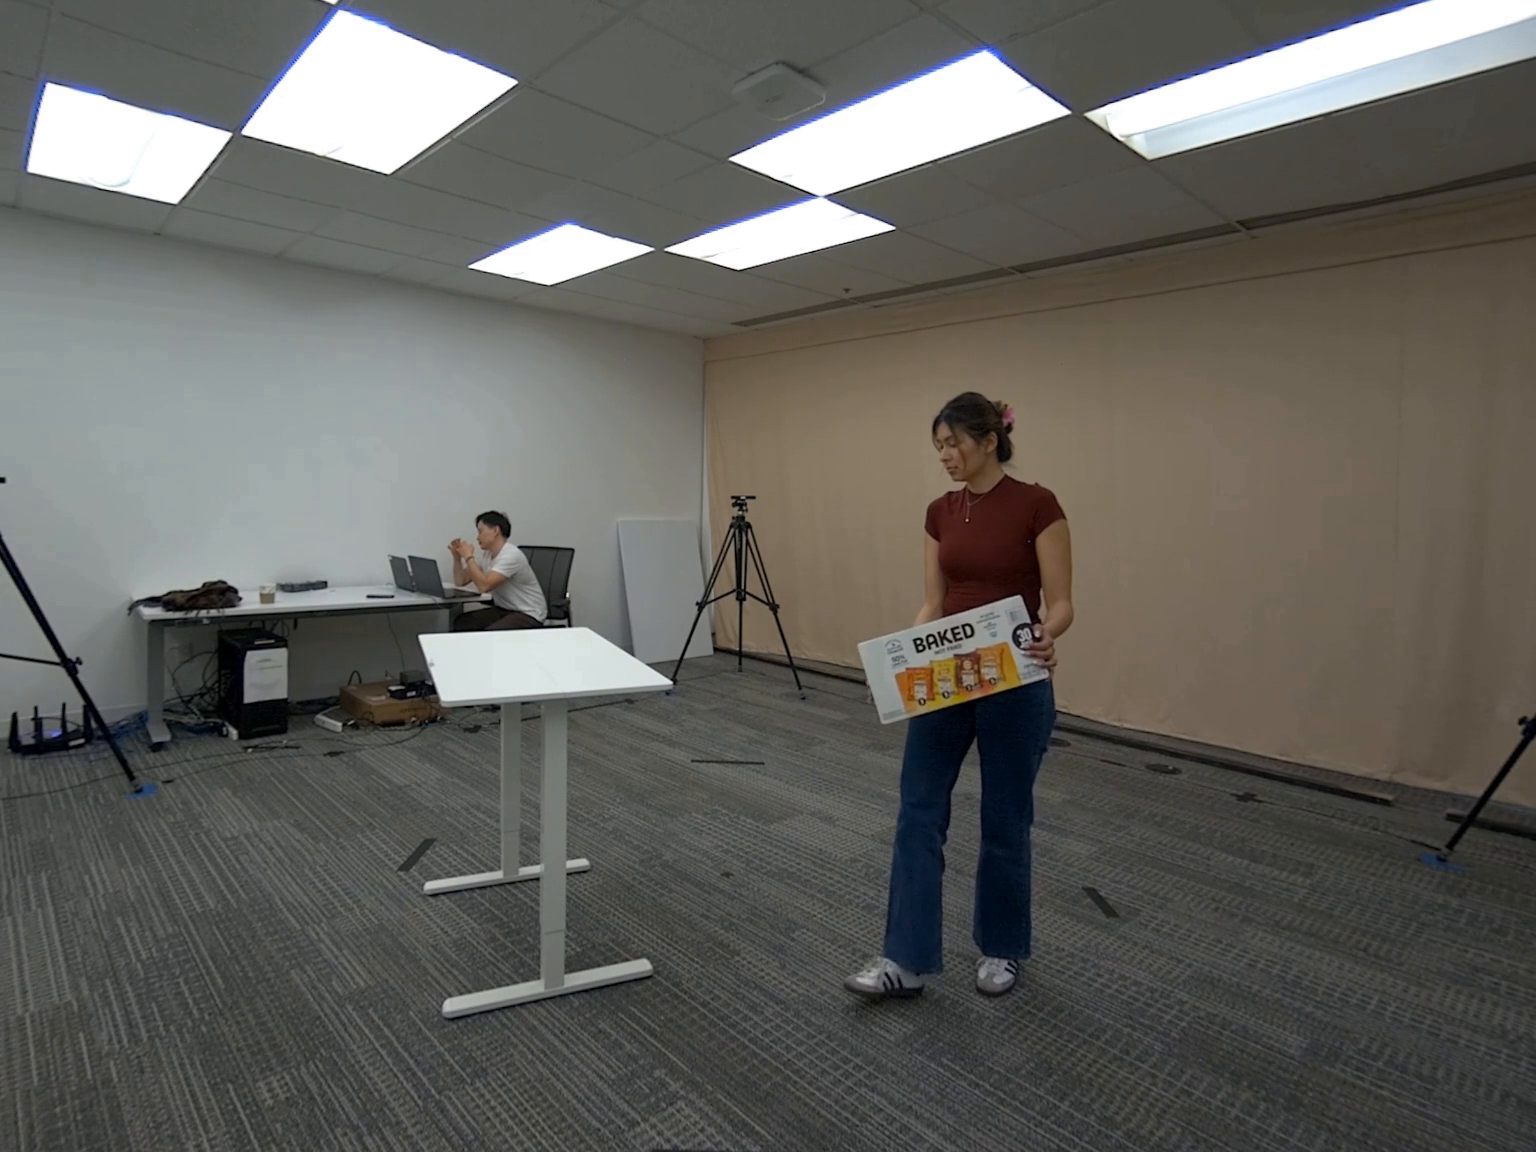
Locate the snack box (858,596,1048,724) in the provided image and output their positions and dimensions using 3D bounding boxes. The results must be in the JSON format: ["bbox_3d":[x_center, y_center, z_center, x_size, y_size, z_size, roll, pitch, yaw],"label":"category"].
[{"bbox_3d":[0.446,0.209,2.150,0.406,0.207,0.336,-17,-7,6],"label":"snack box"}]
